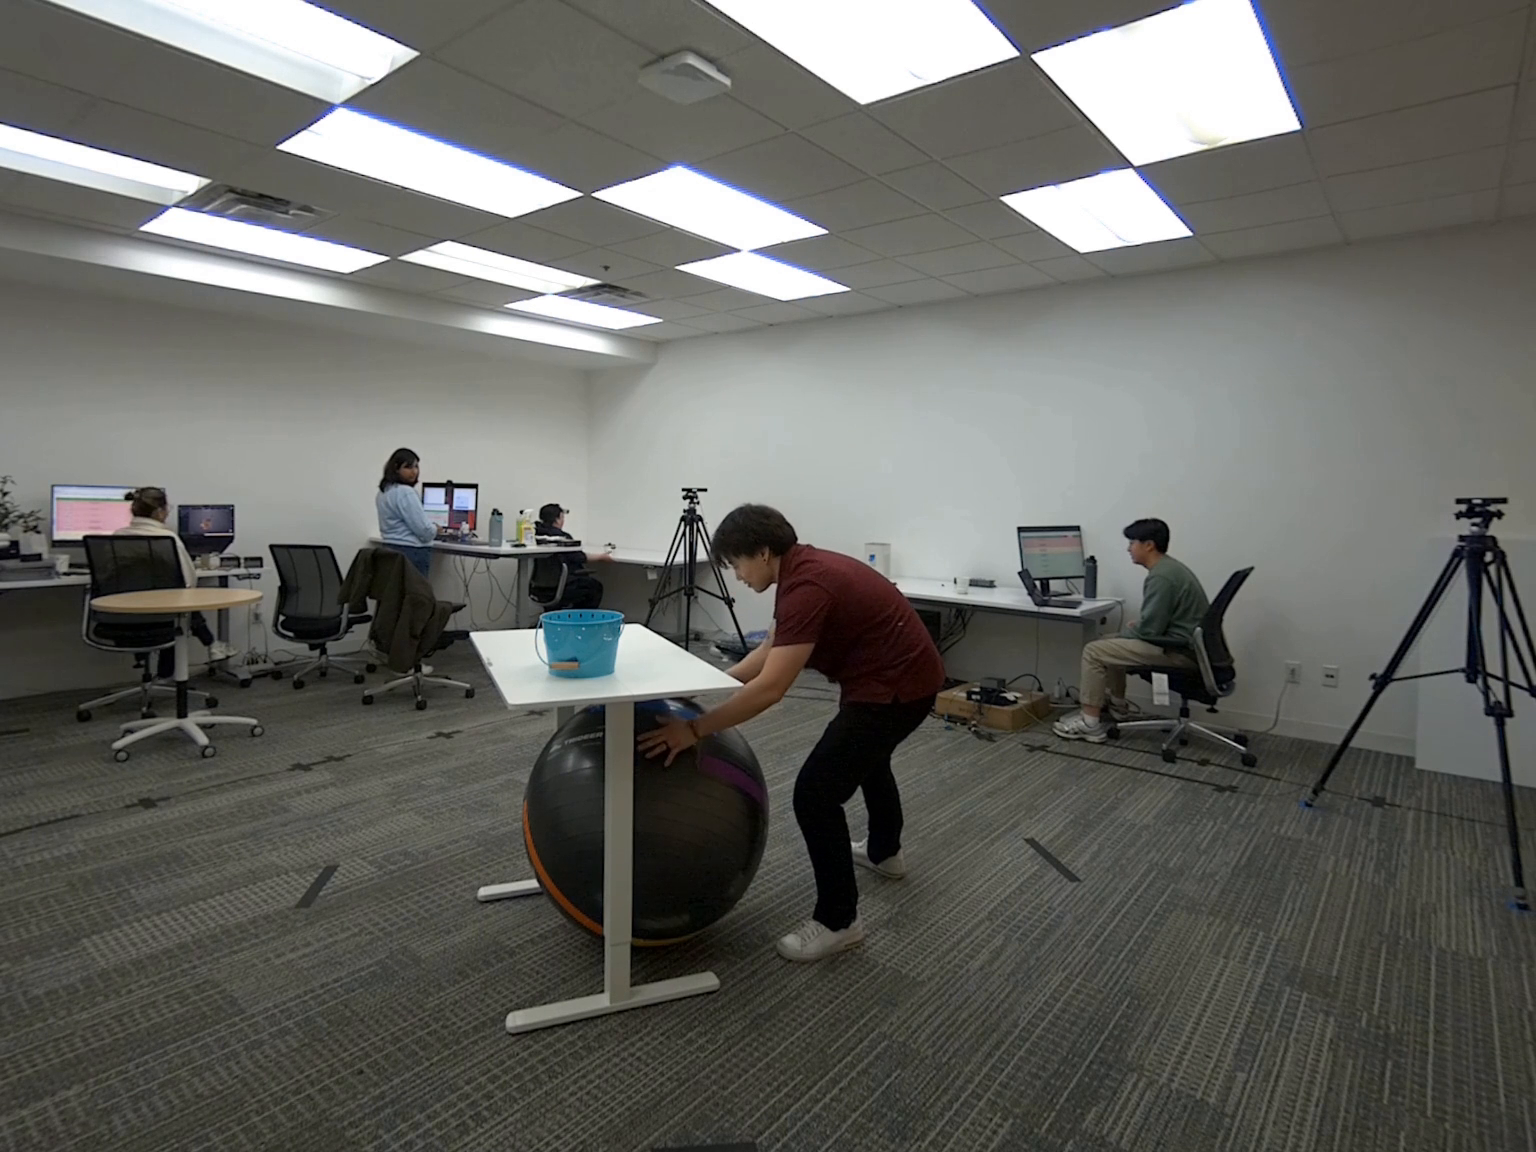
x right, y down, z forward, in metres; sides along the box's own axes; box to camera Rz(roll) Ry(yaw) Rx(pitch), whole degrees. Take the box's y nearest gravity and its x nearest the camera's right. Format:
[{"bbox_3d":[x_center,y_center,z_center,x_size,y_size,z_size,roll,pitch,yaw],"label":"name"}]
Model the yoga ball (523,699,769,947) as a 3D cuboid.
[{"bbox_3d":[-0.393,0.747,2.653,0.757,0.756,0.762,1,4,-2],"label":"yoga ball"}]
